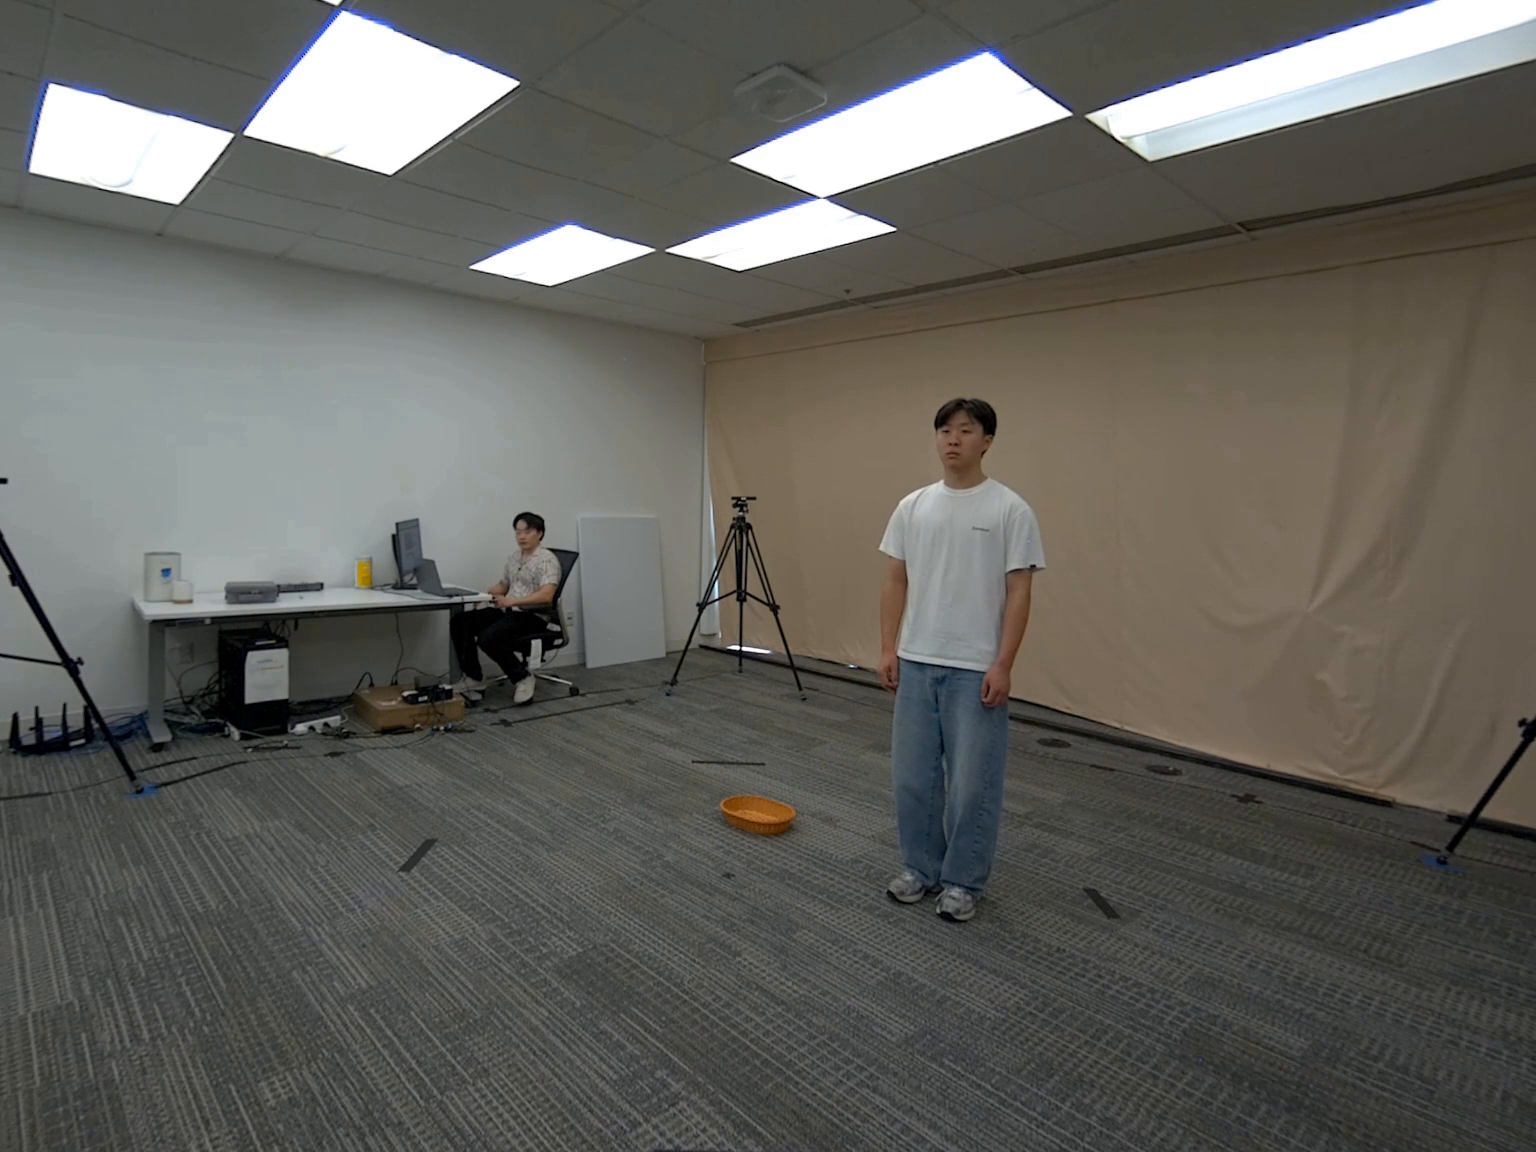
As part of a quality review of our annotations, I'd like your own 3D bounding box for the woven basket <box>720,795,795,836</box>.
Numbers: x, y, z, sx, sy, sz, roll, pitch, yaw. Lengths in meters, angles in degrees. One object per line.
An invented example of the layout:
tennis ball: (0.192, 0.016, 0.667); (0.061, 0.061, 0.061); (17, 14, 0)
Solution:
woven basket: (-0.060, 1.026, 3.608); (0.359, 0.073, 0.247); (6, 7, 40)
